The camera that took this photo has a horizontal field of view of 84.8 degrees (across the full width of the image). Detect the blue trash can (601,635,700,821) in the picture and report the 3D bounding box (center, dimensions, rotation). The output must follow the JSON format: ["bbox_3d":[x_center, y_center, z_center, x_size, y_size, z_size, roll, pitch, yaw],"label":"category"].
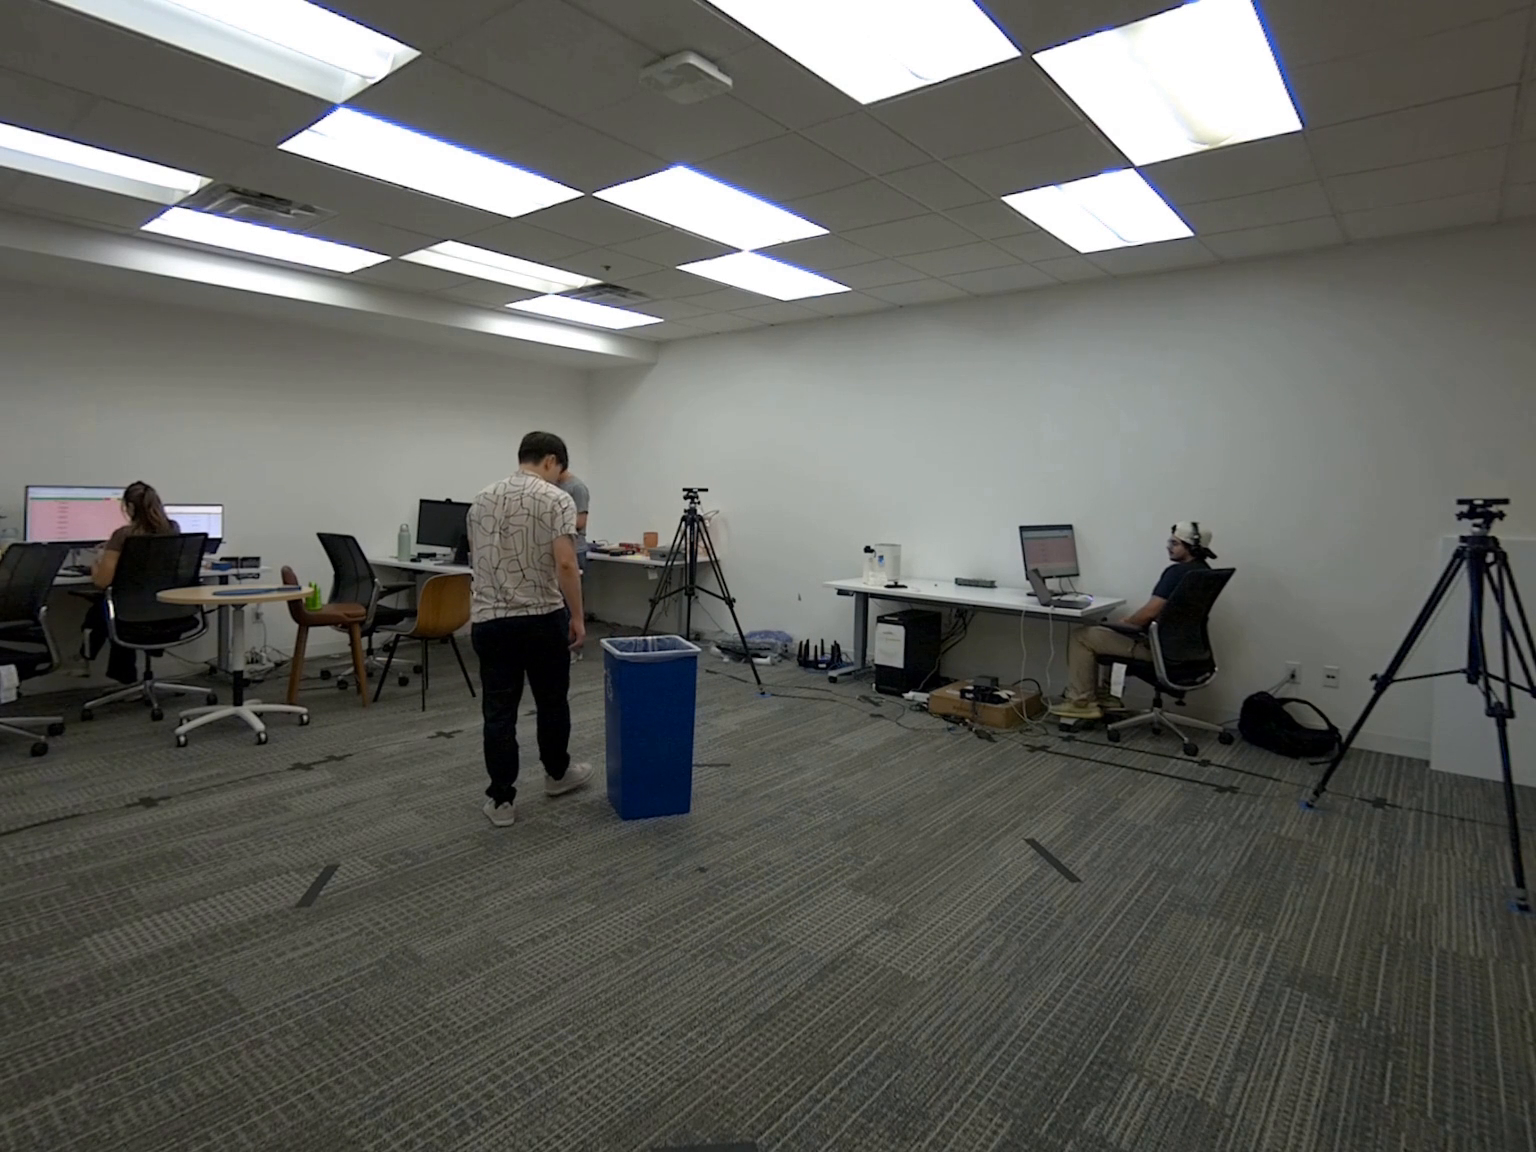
[{"bbox_3d":[-0.529,0.649,3.715,0.370,0.711,0.383,-1,4,-23],"label":"blue trash can"}]
